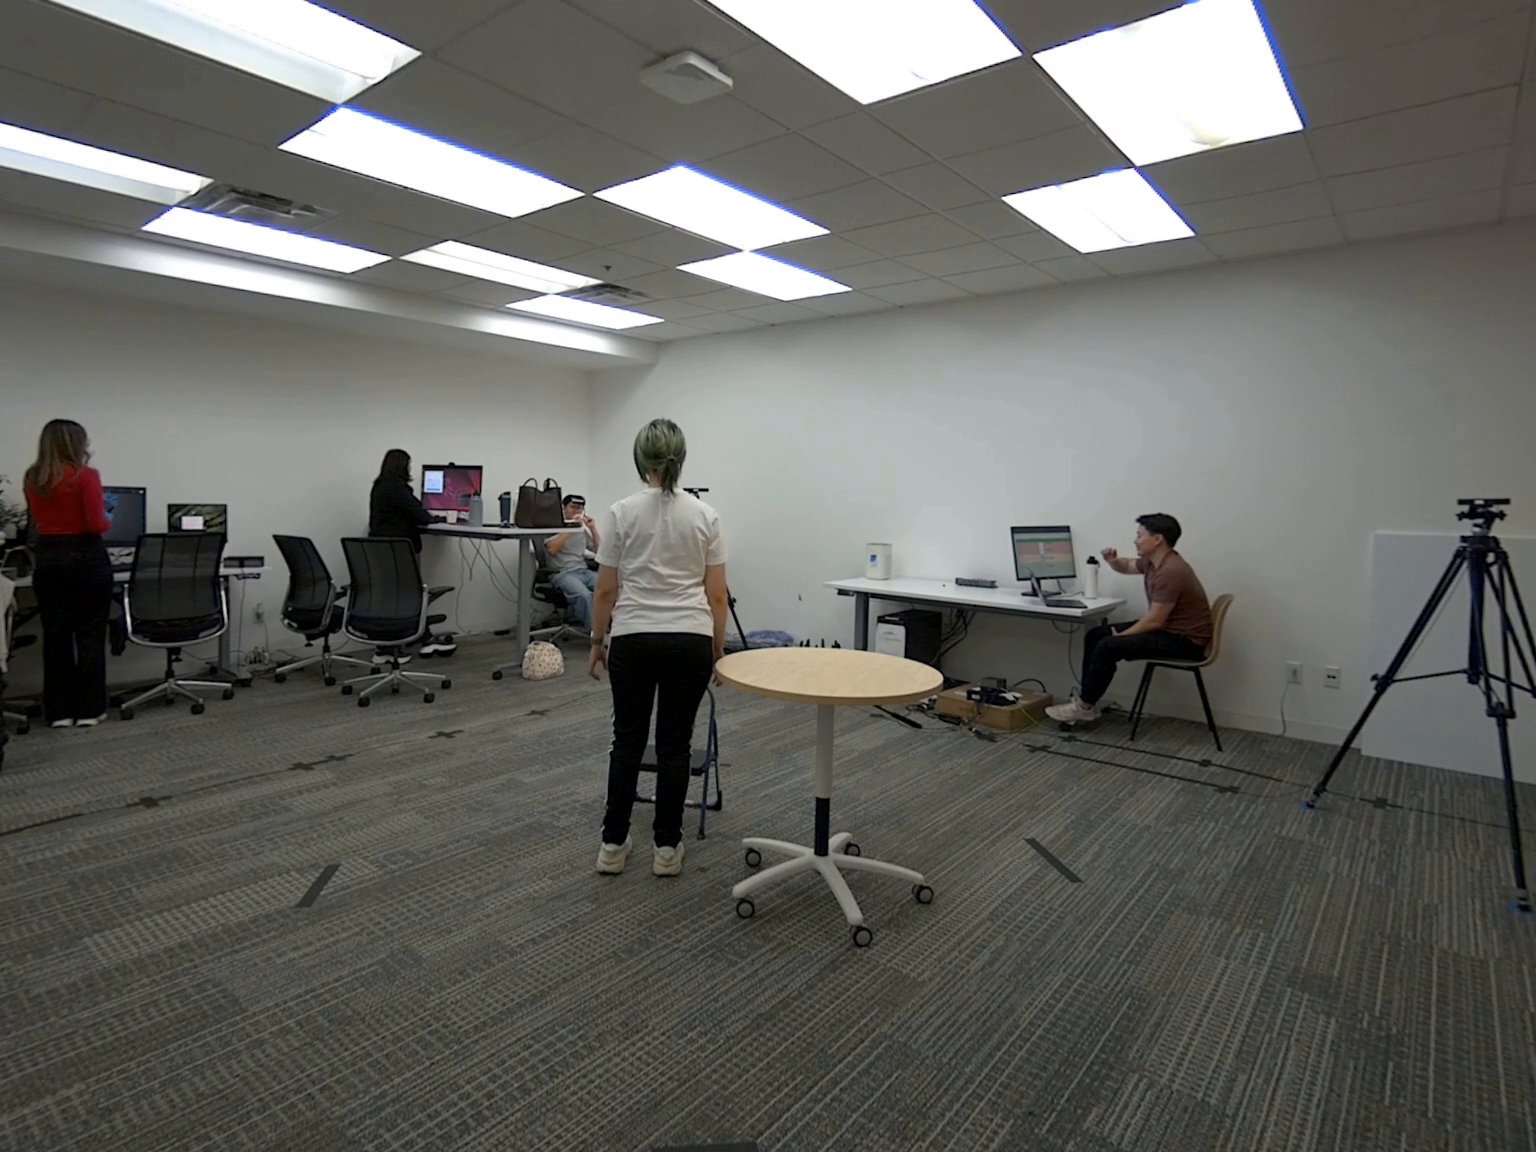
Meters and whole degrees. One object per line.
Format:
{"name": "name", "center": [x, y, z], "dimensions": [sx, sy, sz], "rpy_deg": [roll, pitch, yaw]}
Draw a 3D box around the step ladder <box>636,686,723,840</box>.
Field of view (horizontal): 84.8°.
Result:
{"name": "step ladder", "center": [-0.431, 0.719, 3.579], "dimensions": [0.437, 0.604, 0.345], "rpy_deg": [2, 3, 13]}
